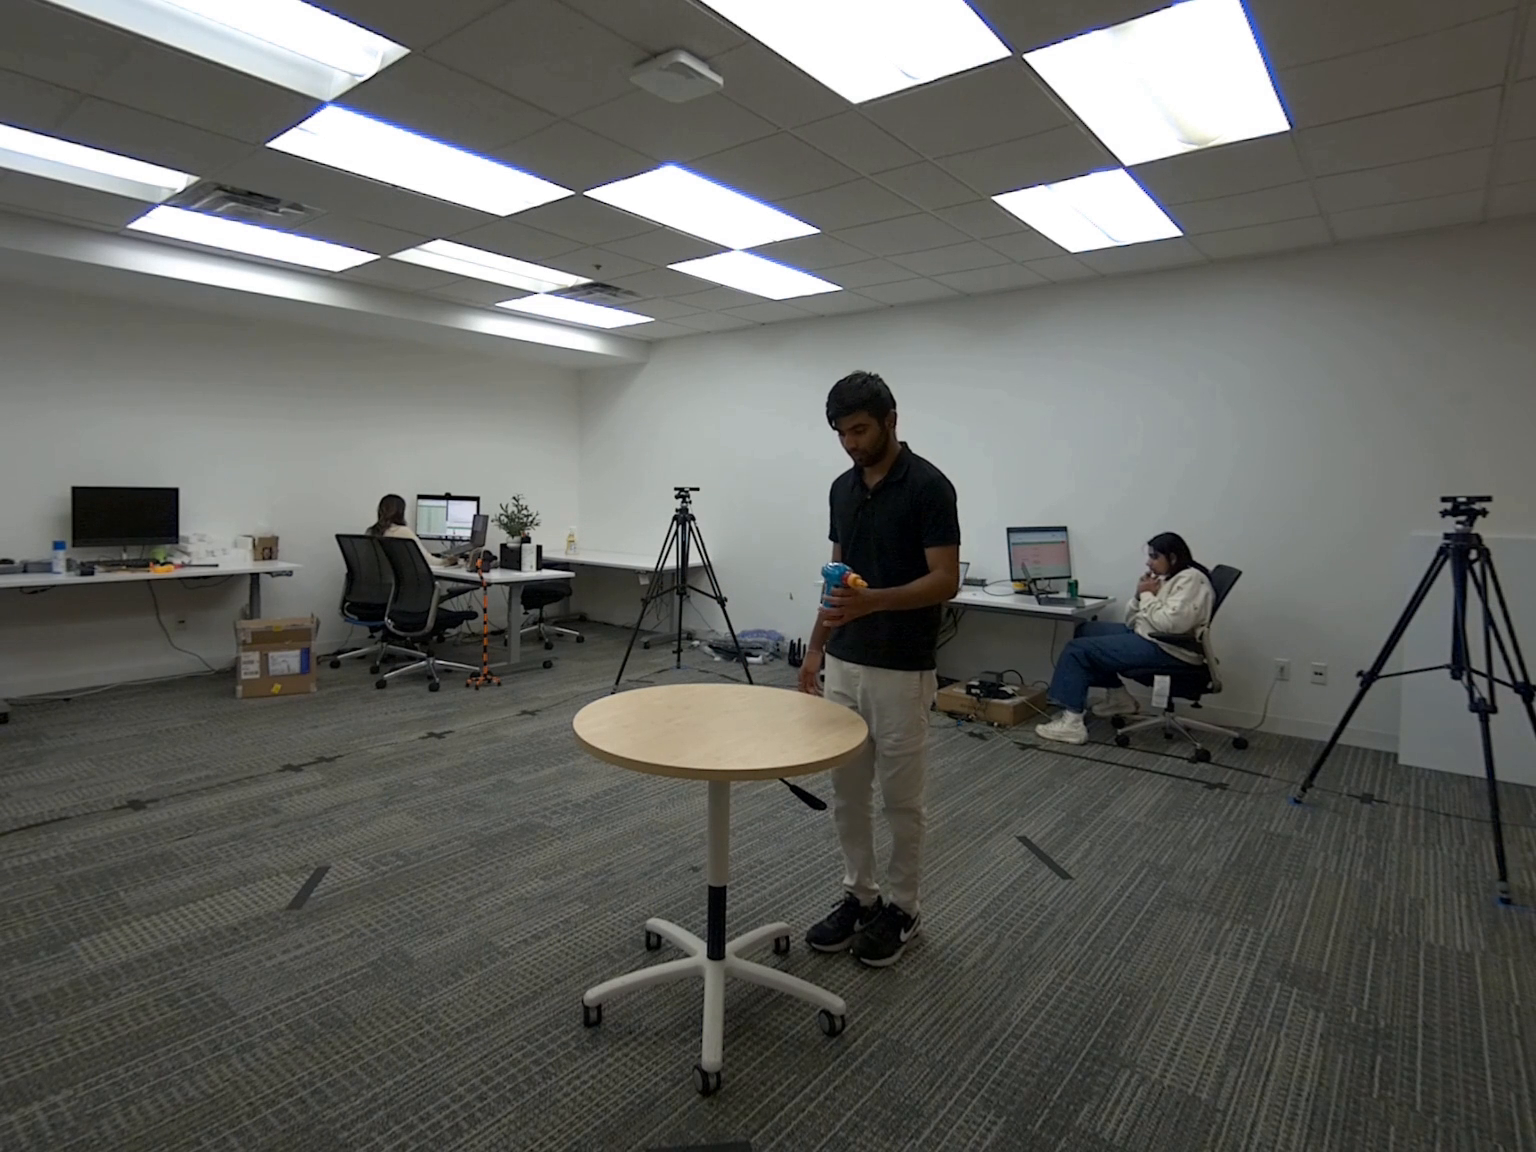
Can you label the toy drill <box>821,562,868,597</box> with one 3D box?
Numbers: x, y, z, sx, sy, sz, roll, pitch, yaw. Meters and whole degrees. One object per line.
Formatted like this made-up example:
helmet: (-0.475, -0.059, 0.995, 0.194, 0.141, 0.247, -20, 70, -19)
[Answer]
toy drill: (0.187, 0.041, 2.223, 0.059, 0.144, 0.176, -8, 17, -39)
